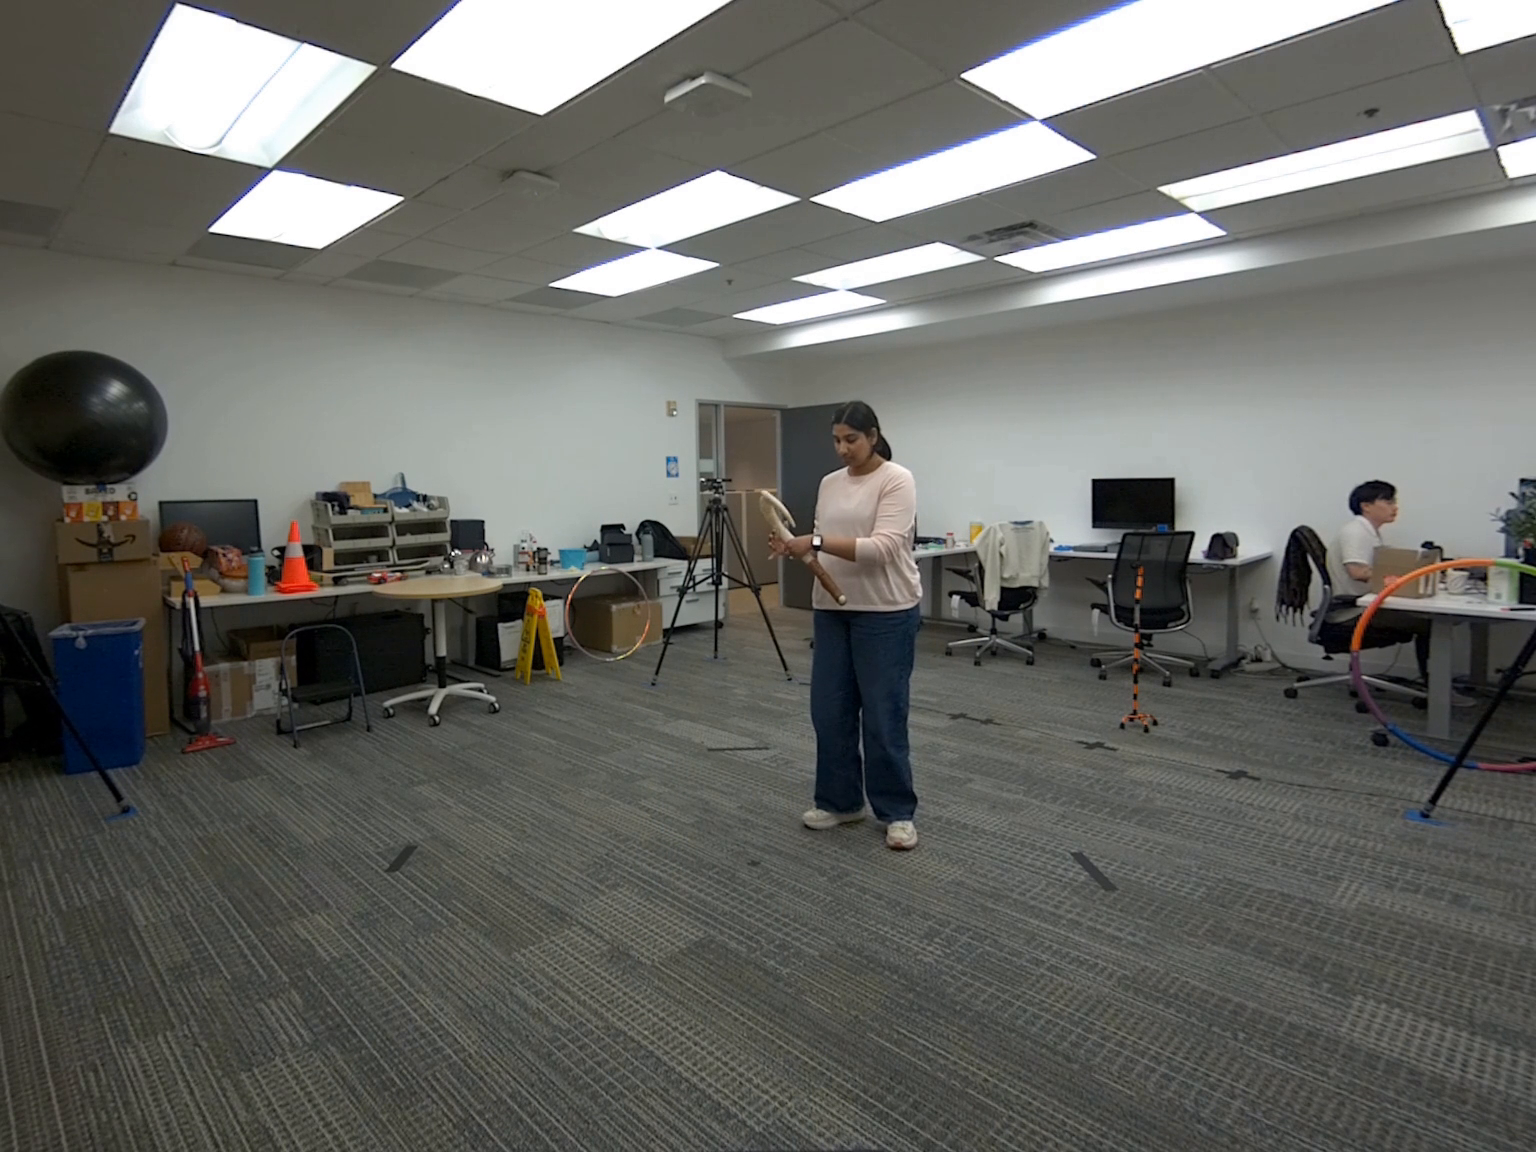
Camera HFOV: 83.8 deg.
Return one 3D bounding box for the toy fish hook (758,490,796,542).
[{"bbox_3d":[0.129,-0.107,3.154,0.048,0.518,0.220,-36,-18,-8],"label":"toy fish hook"}]
